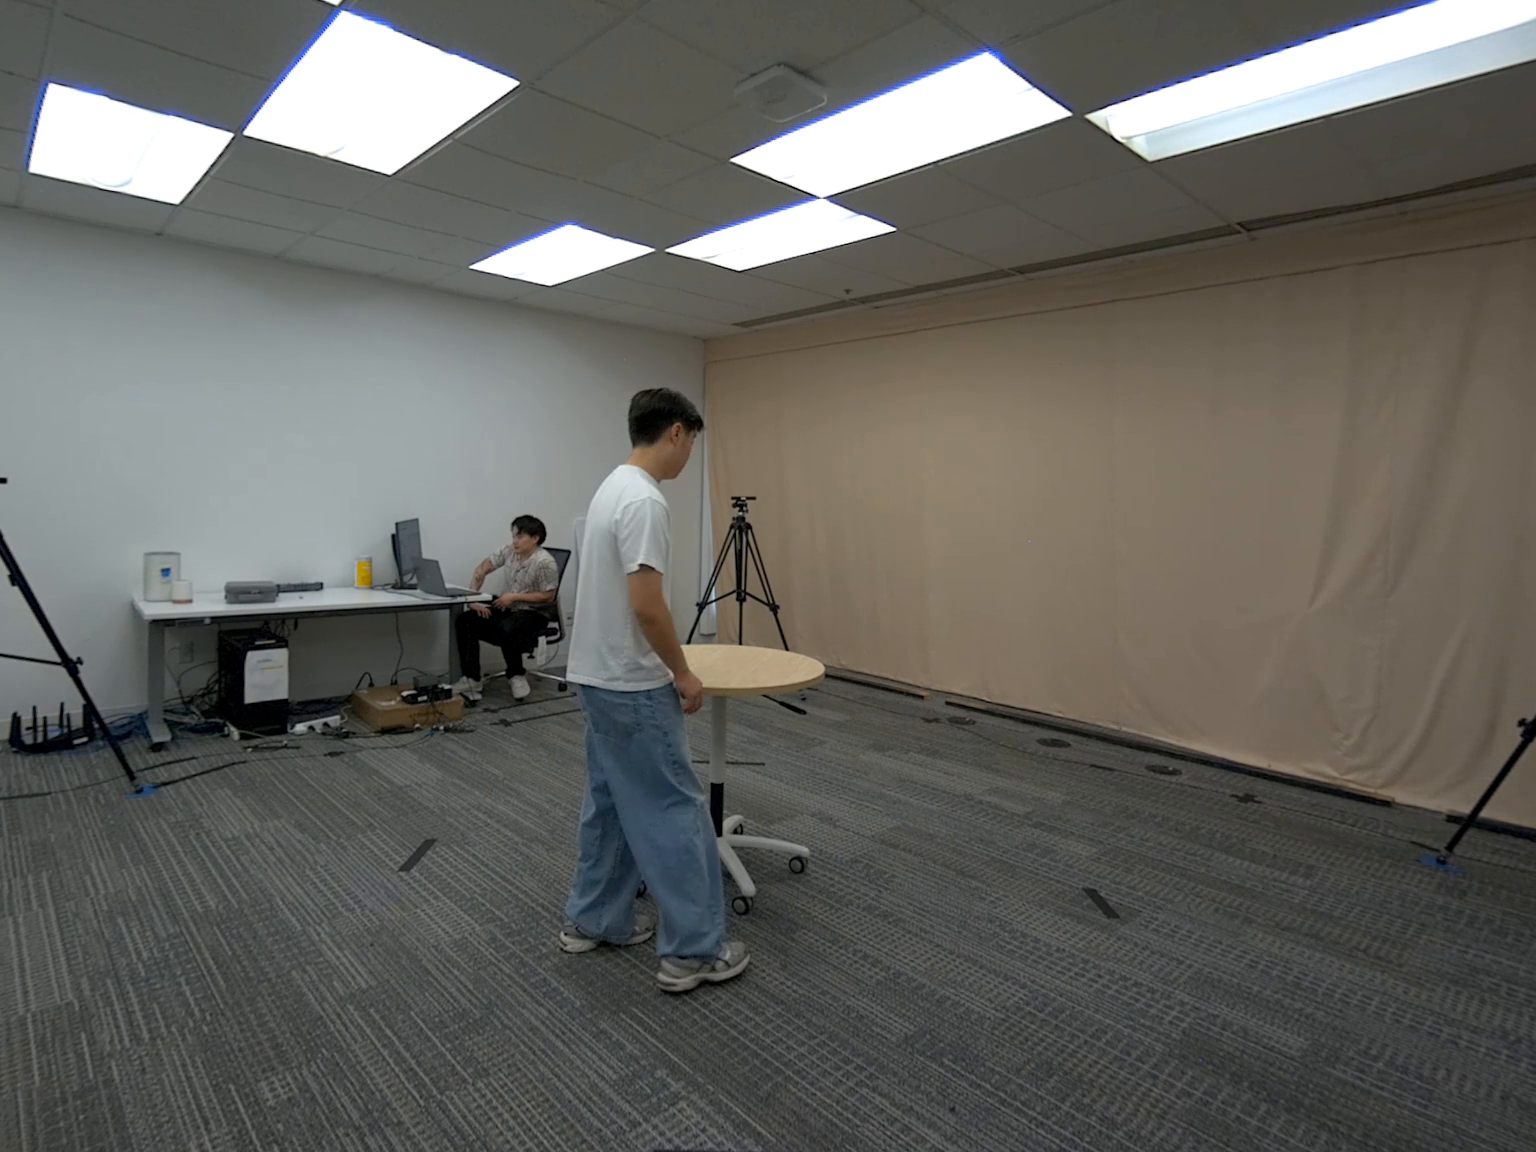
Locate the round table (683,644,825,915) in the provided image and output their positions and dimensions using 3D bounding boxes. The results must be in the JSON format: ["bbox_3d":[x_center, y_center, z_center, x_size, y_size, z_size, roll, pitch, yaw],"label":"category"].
[{"bbox_3d":[-0.189,0.715,3.109,0.763,0.792,0.767,1,4,-1],"label":"round table"}]
